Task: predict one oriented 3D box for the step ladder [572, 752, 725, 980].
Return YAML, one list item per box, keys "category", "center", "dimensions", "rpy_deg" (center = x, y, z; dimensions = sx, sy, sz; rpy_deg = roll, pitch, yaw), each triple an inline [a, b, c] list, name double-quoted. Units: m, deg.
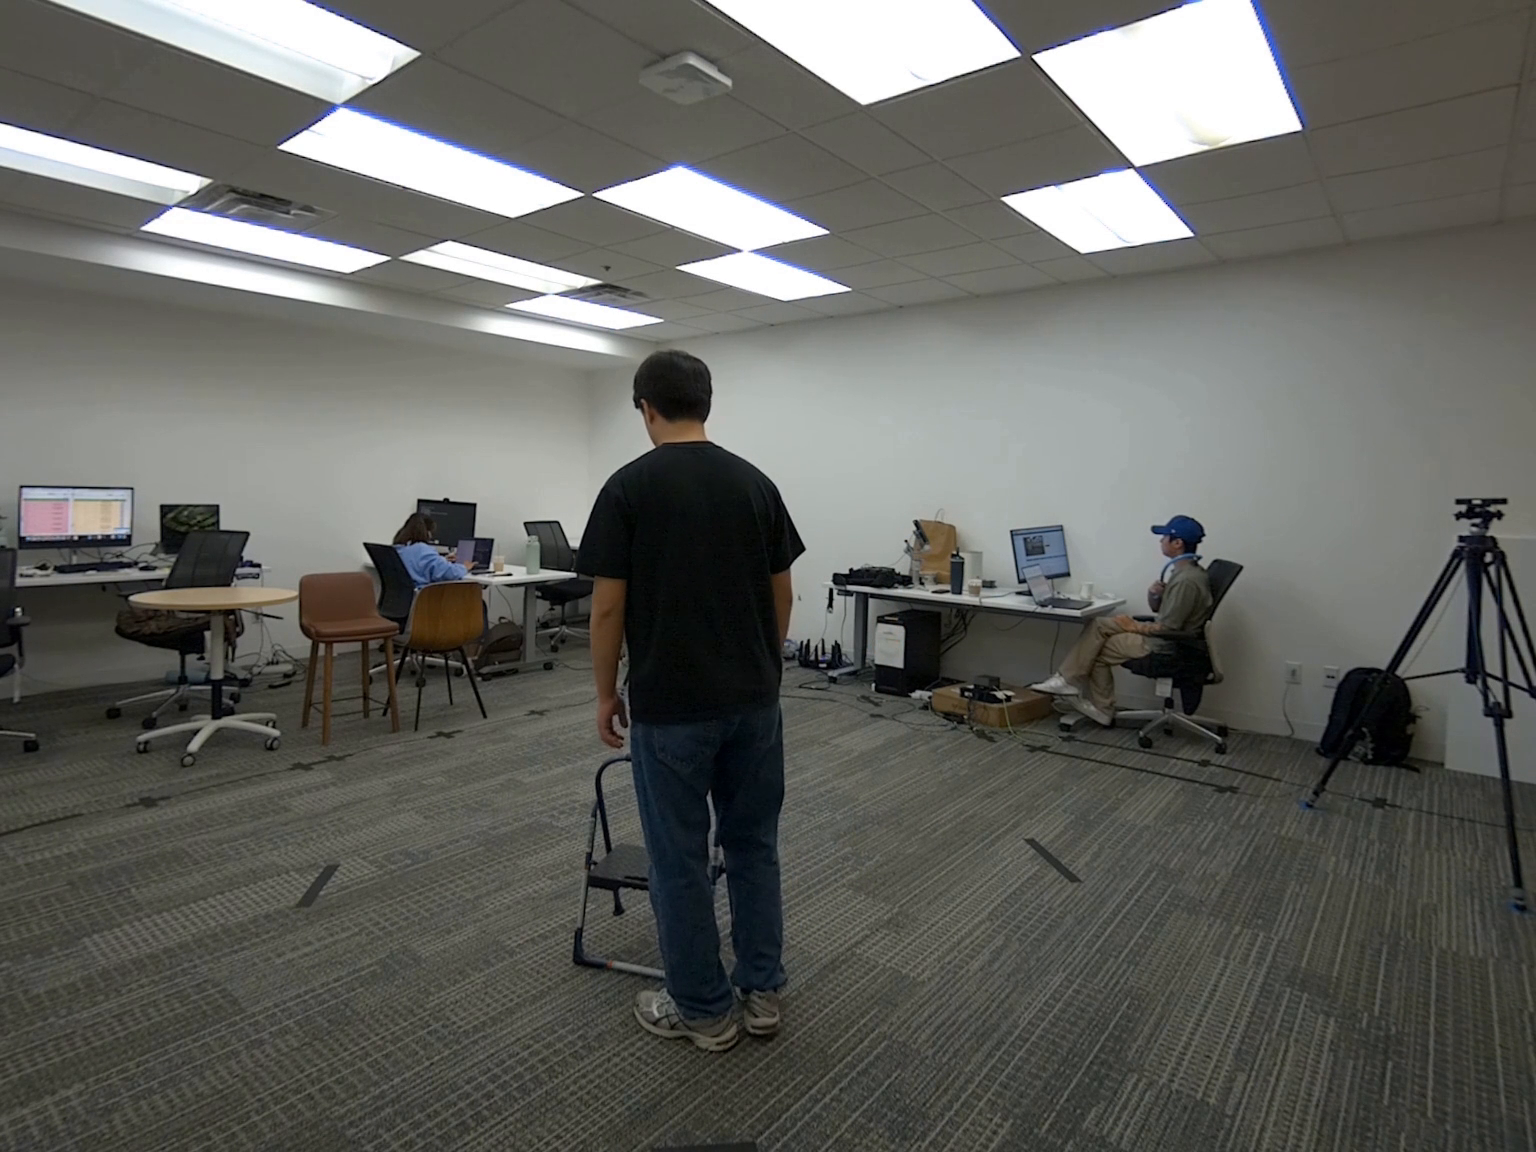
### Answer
- category: "step ladder"
  center: [-0.340, 0.820, 2.556]
  dimensions: [0.438, 0.604, 0.344]
  rpy_deg: [2, 4, 15]
